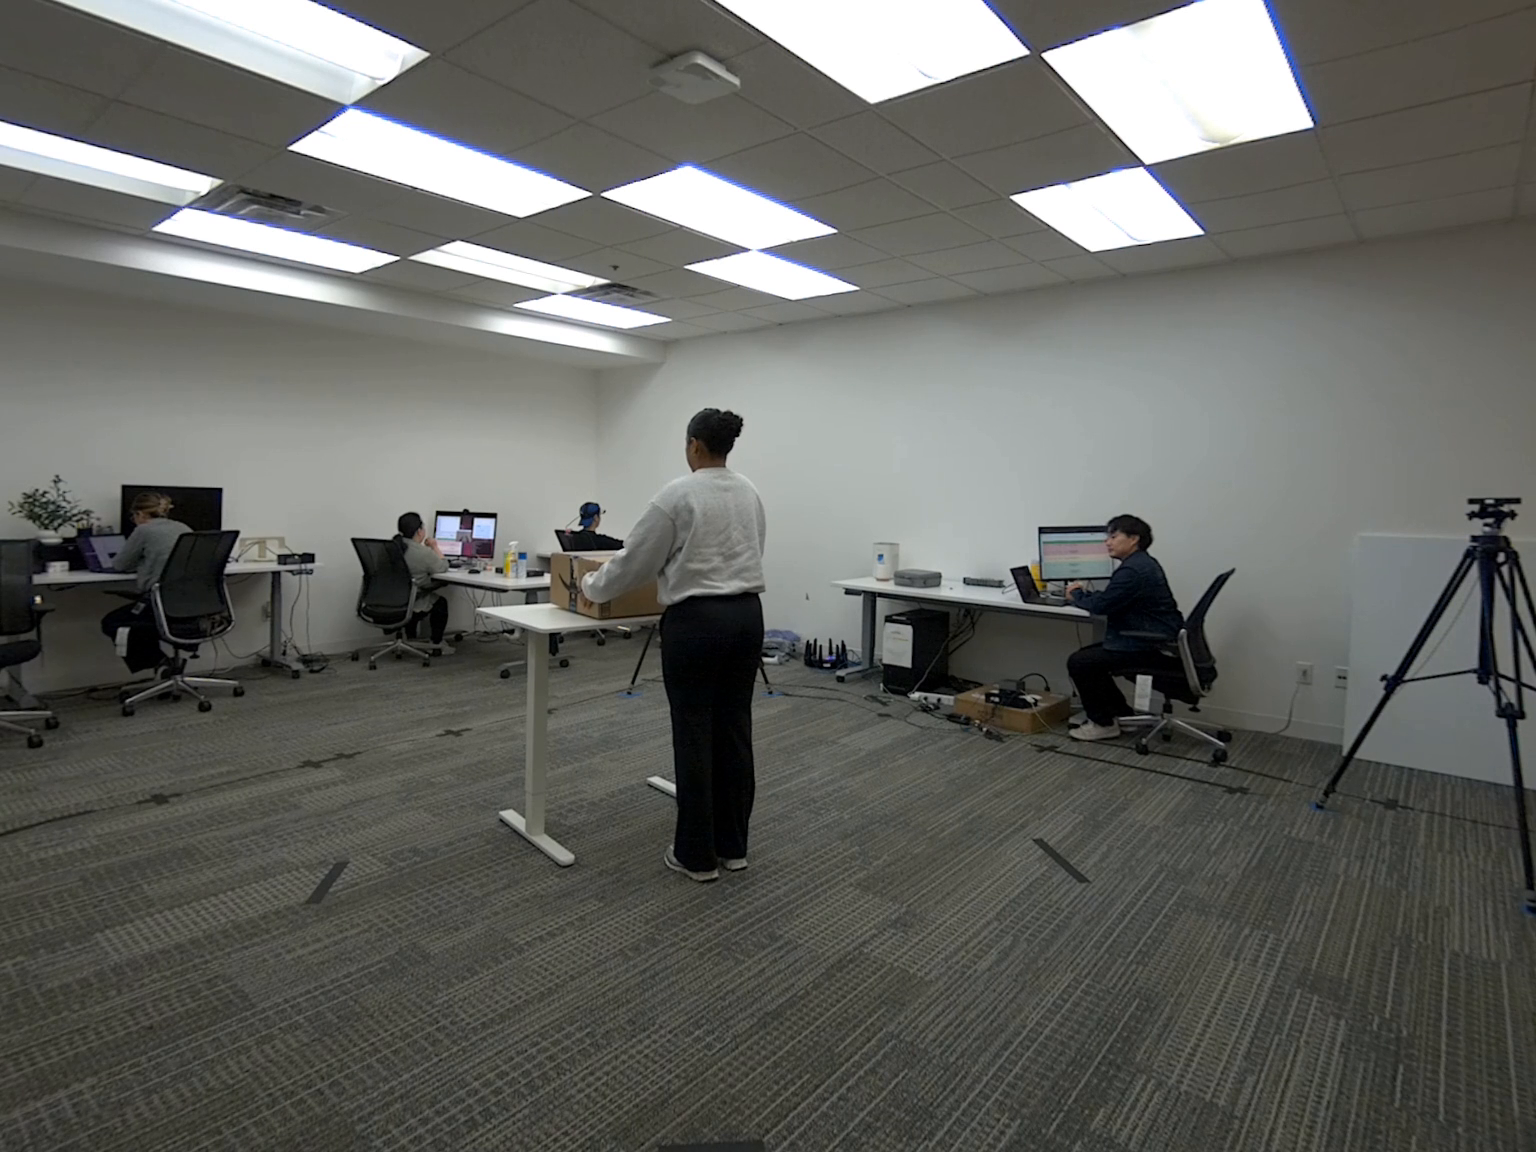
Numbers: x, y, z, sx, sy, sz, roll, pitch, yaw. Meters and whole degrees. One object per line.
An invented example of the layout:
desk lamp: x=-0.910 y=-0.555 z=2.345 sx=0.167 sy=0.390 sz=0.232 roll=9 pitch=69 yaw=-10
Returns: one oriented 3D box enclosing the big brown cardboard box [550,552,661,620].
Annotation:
big brown cardboard box: x=-0.568 y=0.015 z=3.532 sx=0.572 sy=0.232 sz=0.432 roll=-5 pitch=9 yaw=-39
